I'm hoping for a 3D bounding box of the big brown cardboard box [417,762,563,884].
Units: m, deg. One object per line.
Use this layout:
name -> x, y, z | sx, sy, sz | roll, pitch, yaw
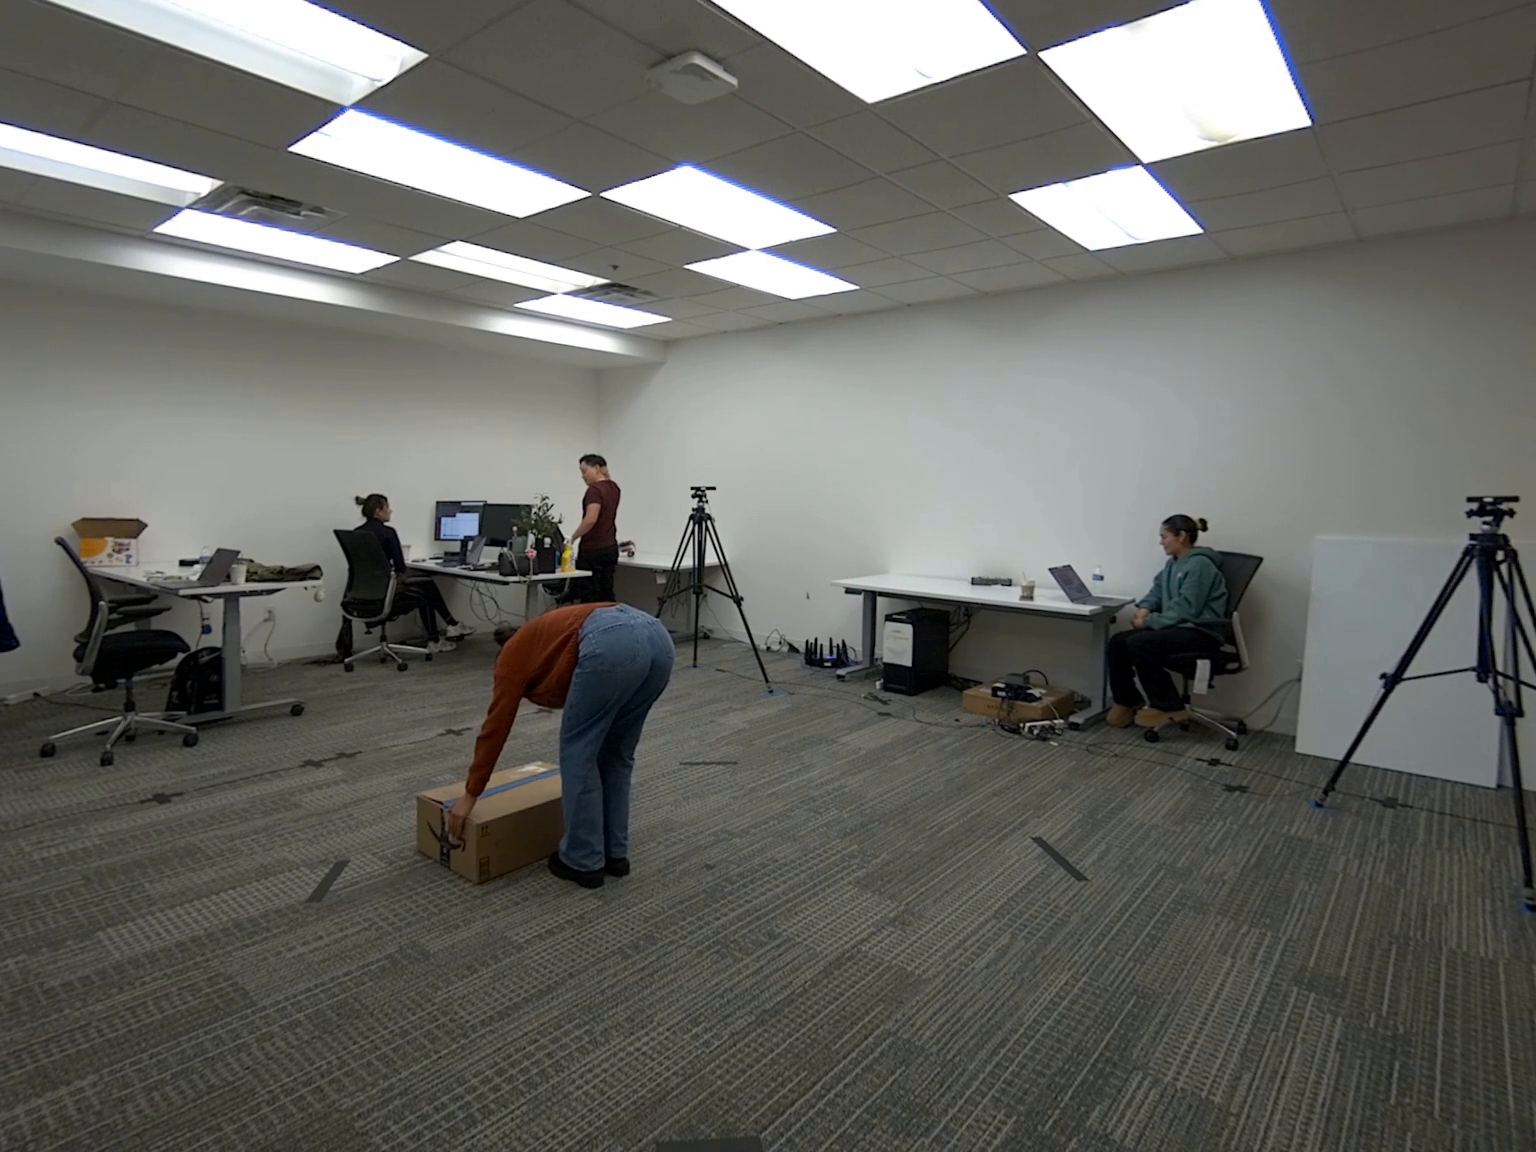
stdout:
big brown cardboard box -> -1.006, 0.922, 3.288 | 0.431, 0.232, 0.572 | 4, 7, 39
